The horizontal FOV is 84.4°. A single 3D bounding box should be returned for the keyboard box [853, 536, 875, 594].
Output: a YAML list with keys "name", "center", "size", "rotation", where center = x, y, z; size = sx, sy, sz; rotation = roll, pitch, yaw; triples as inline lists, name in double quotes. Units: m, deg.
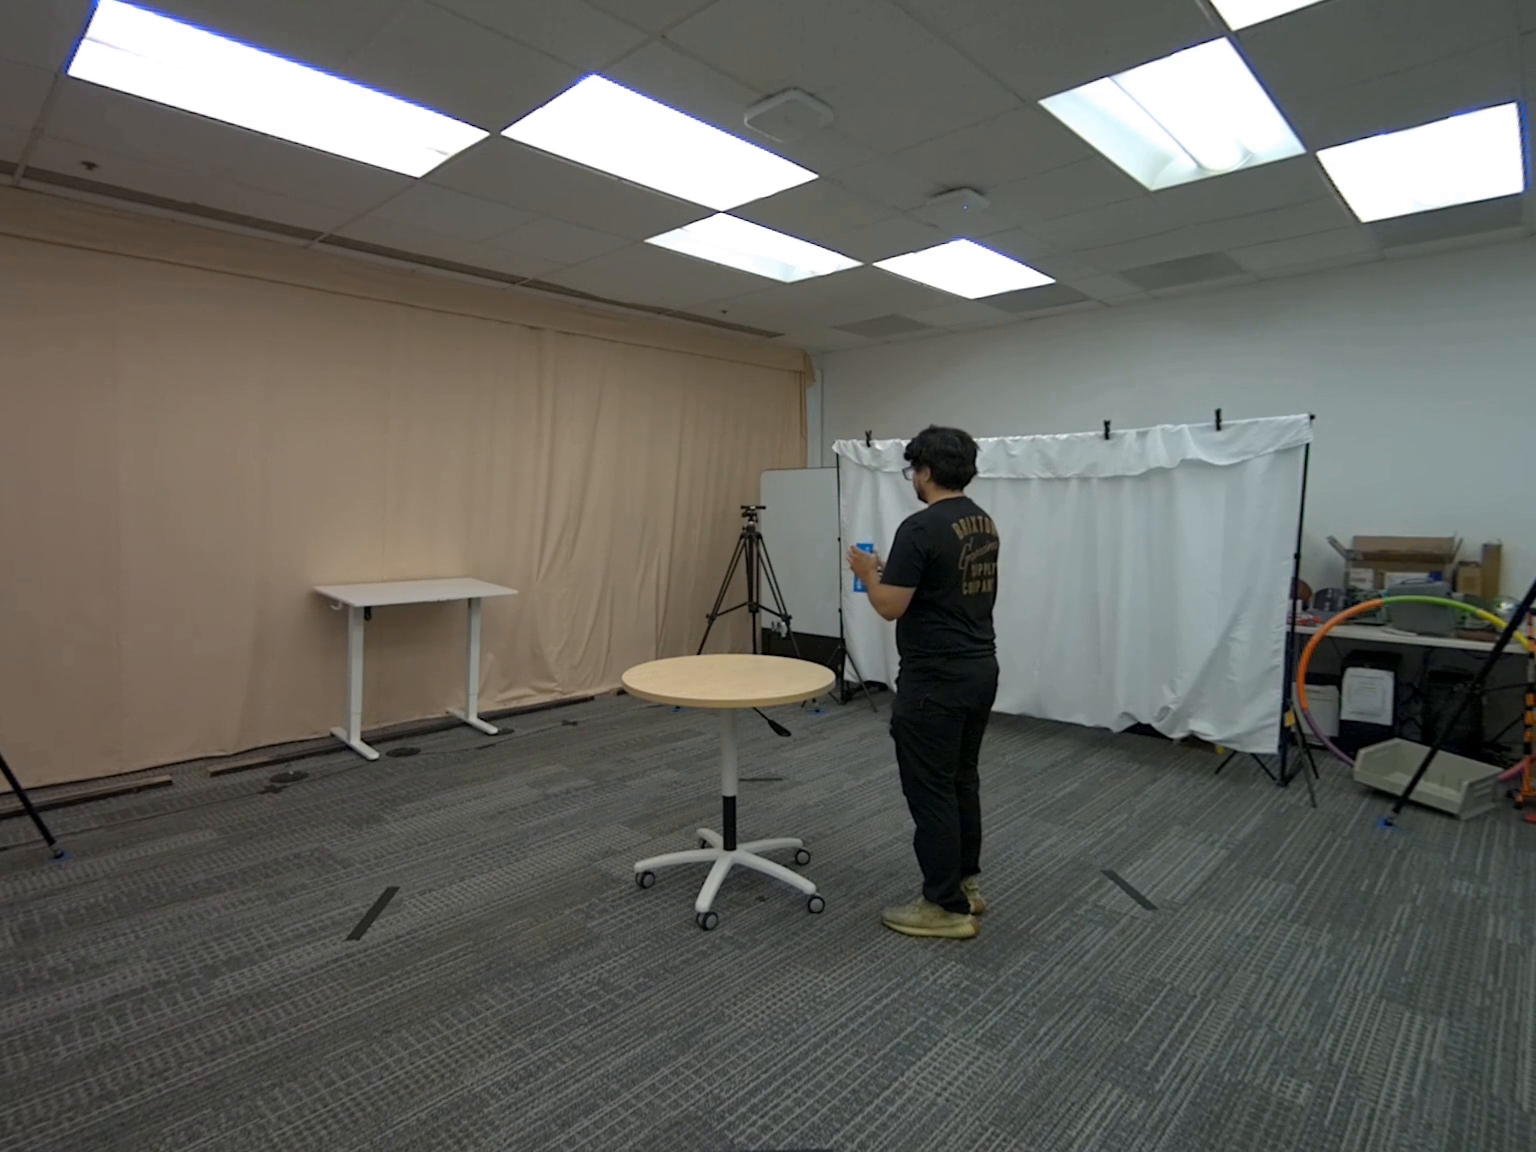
- name: "keyboard box"
  center: [0.368, -0.031, 3.129]
  size: [0.060, 0.176, 0.432]
  rotation: [4, 3, 9]
